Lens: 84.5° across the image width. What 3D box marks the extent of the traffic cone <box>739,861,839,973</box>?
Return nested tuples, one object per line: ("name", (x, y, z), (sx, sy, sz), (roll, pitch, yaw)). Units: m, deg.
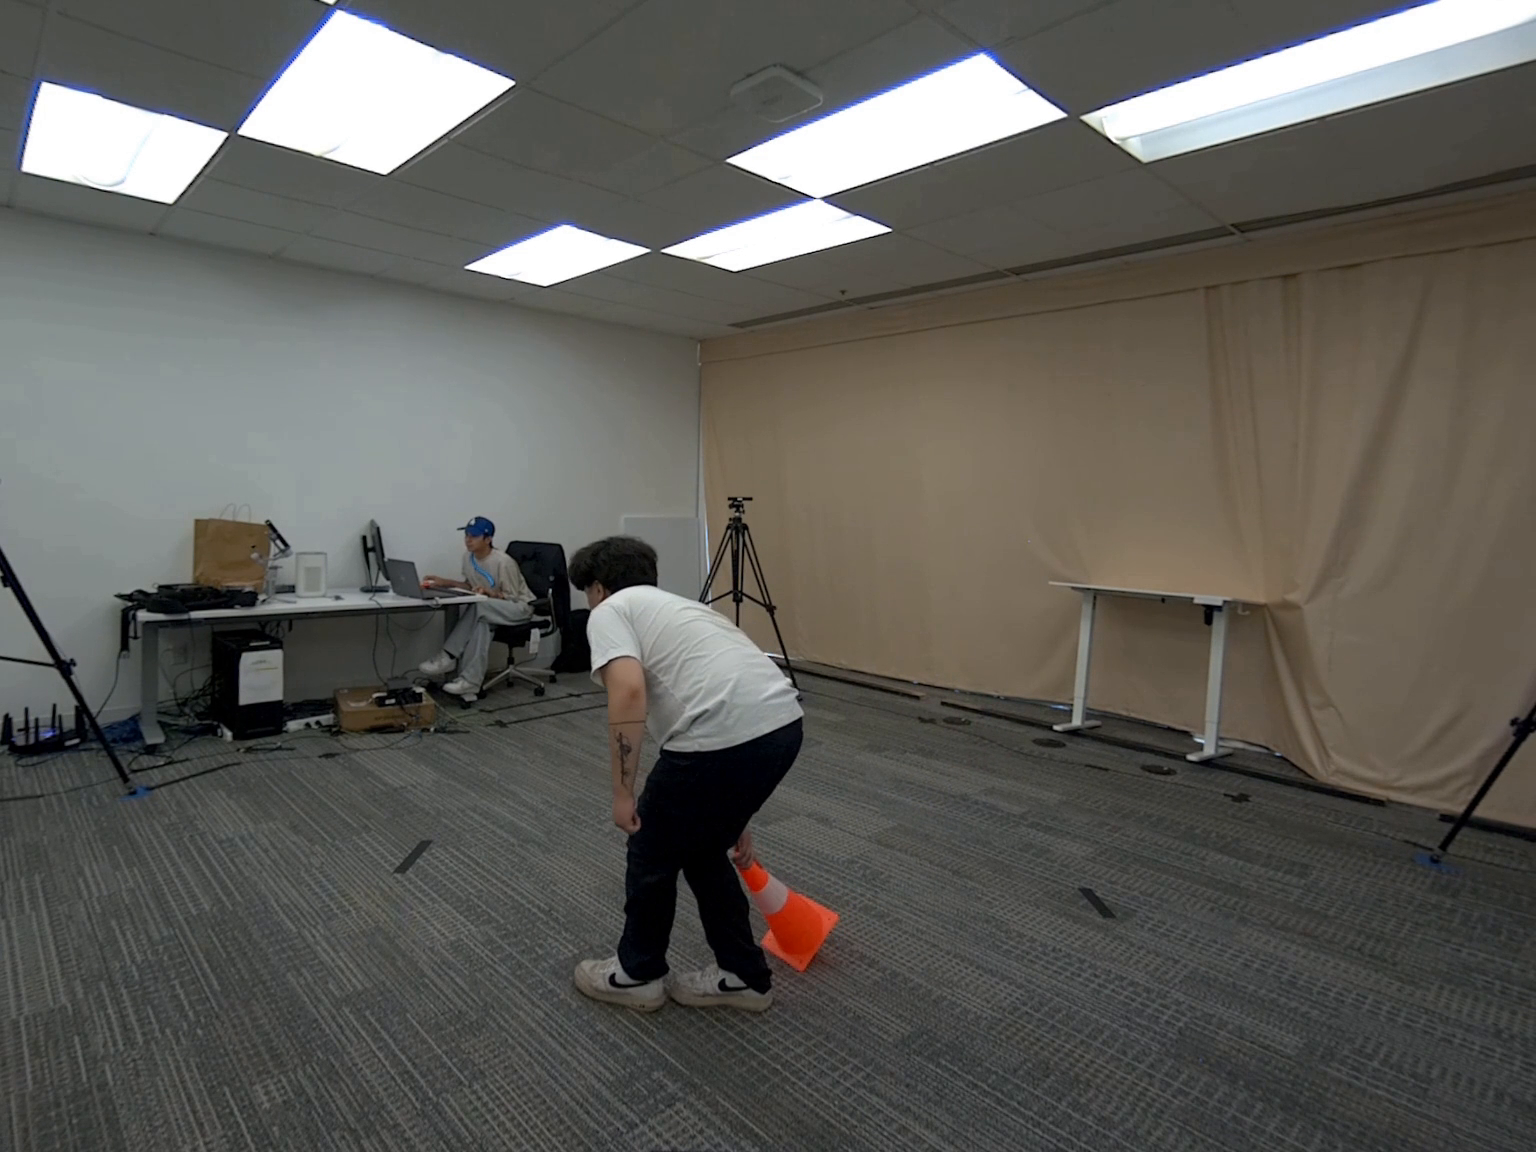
("traffic cone", (-0.001, 0.960, 2.522), (0.209, 0.375, 0.204), (-11, 32, 43))
